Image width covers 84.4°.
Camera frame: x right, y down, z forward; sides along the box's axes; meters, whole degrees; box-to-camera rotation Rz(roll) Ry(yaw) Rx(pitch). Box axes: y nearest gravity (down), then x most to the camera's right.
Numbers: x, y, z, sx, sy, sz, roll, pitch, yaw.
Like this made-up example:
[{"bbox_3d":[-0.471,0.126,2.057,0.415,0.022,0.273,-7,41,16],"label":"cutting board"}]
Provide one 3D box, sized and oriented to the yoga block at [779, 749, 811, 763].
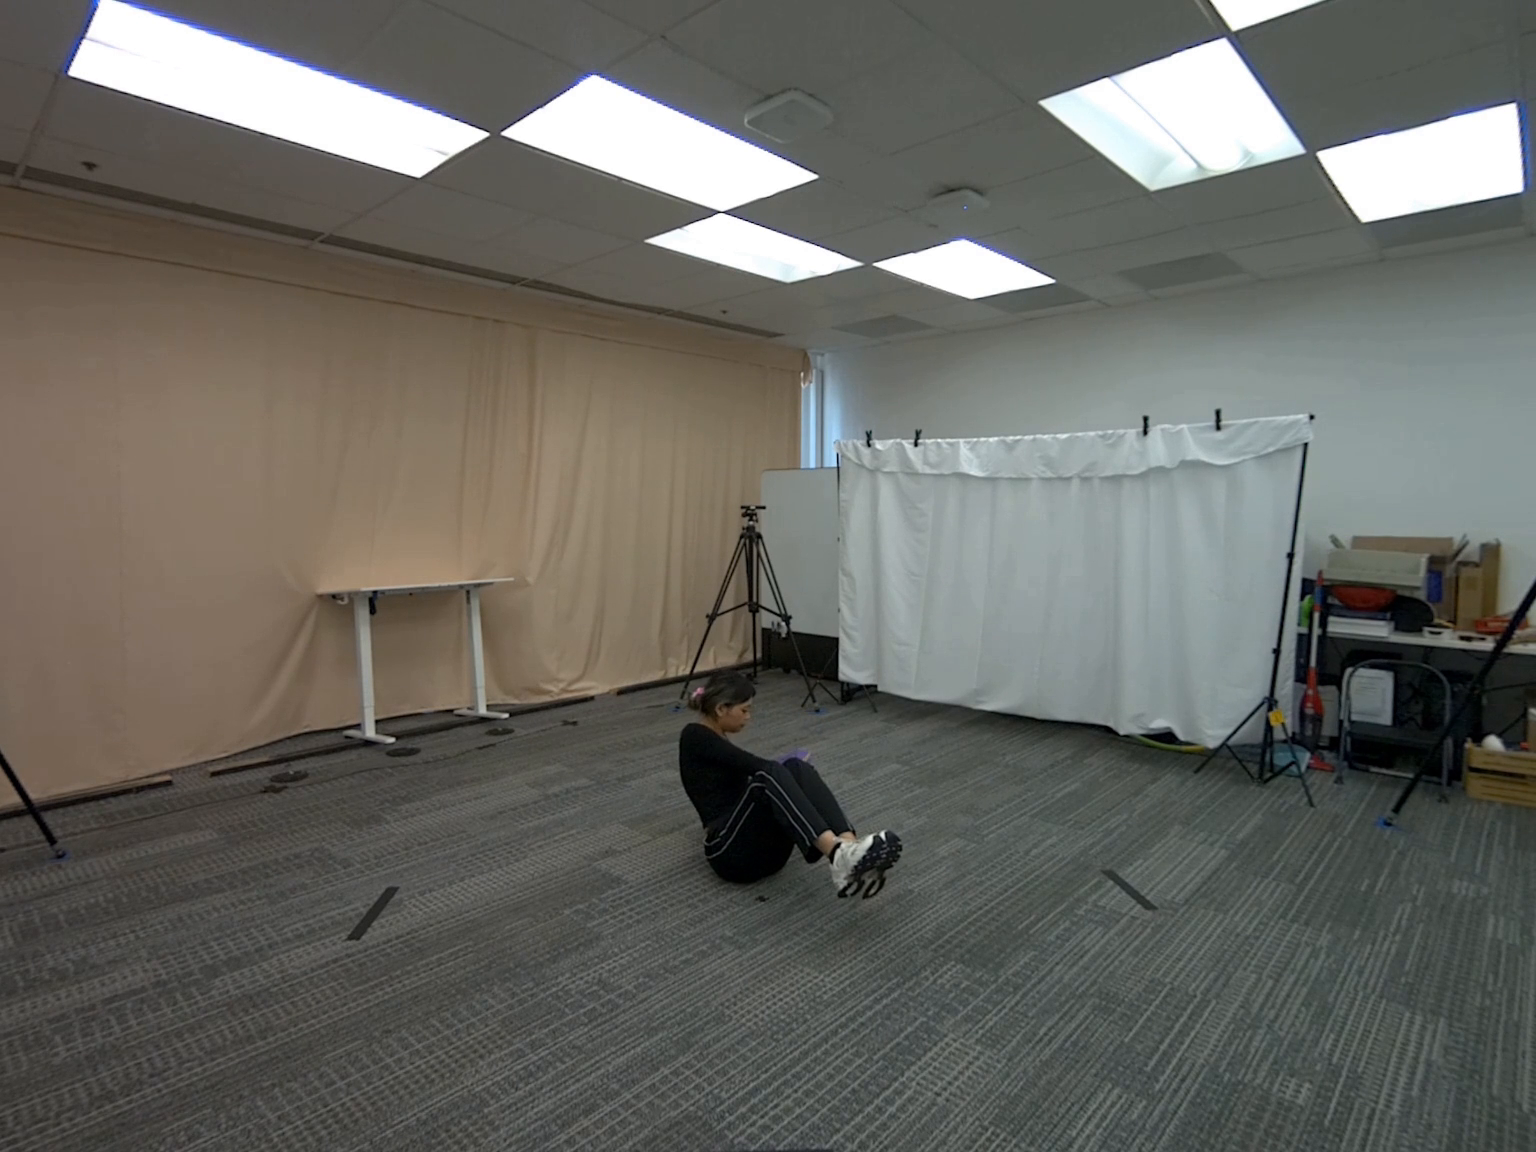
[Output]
[{"bbox_3d":[0.071,0.833,3.509,0.075,0.150,0.230,21,-27,-11],"label":"yoga block"}]
